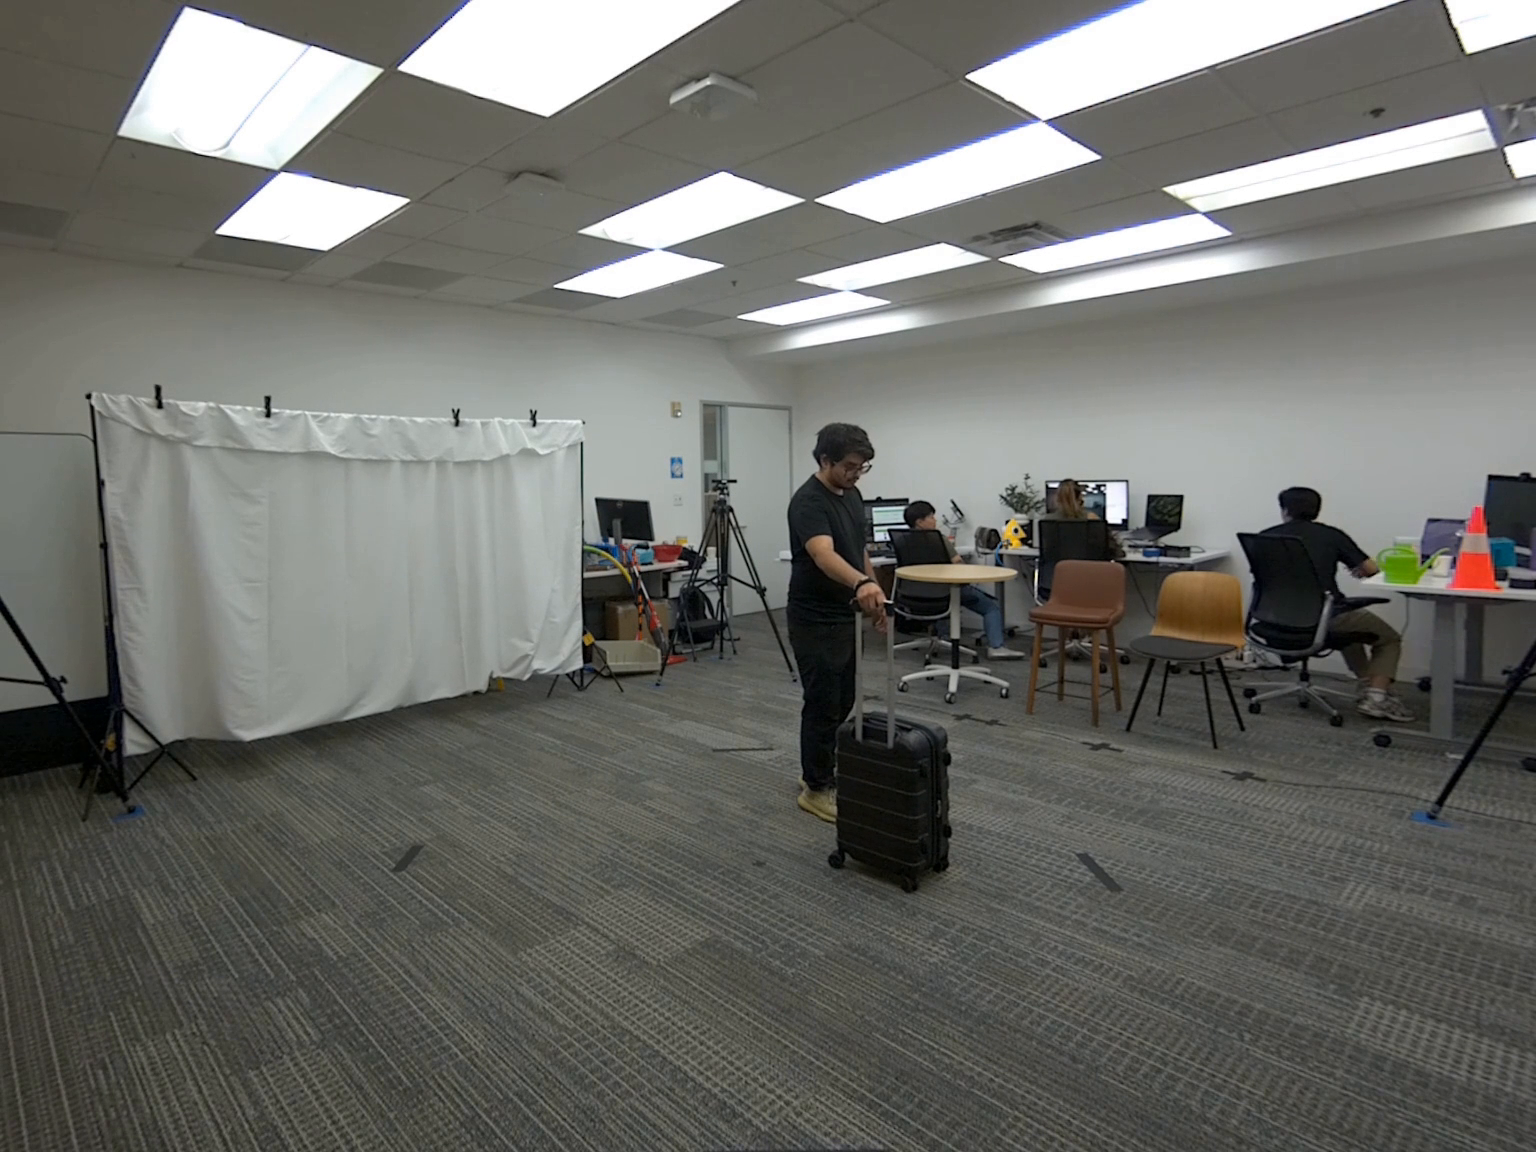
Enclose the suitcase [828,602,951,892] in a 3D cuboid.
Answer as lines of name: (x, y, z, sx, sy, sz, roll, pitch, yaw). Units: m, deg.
suitcase: (0.446, 0.574, 3.017, 0.396, 0.974, 0.250, 6, 6, 44)
